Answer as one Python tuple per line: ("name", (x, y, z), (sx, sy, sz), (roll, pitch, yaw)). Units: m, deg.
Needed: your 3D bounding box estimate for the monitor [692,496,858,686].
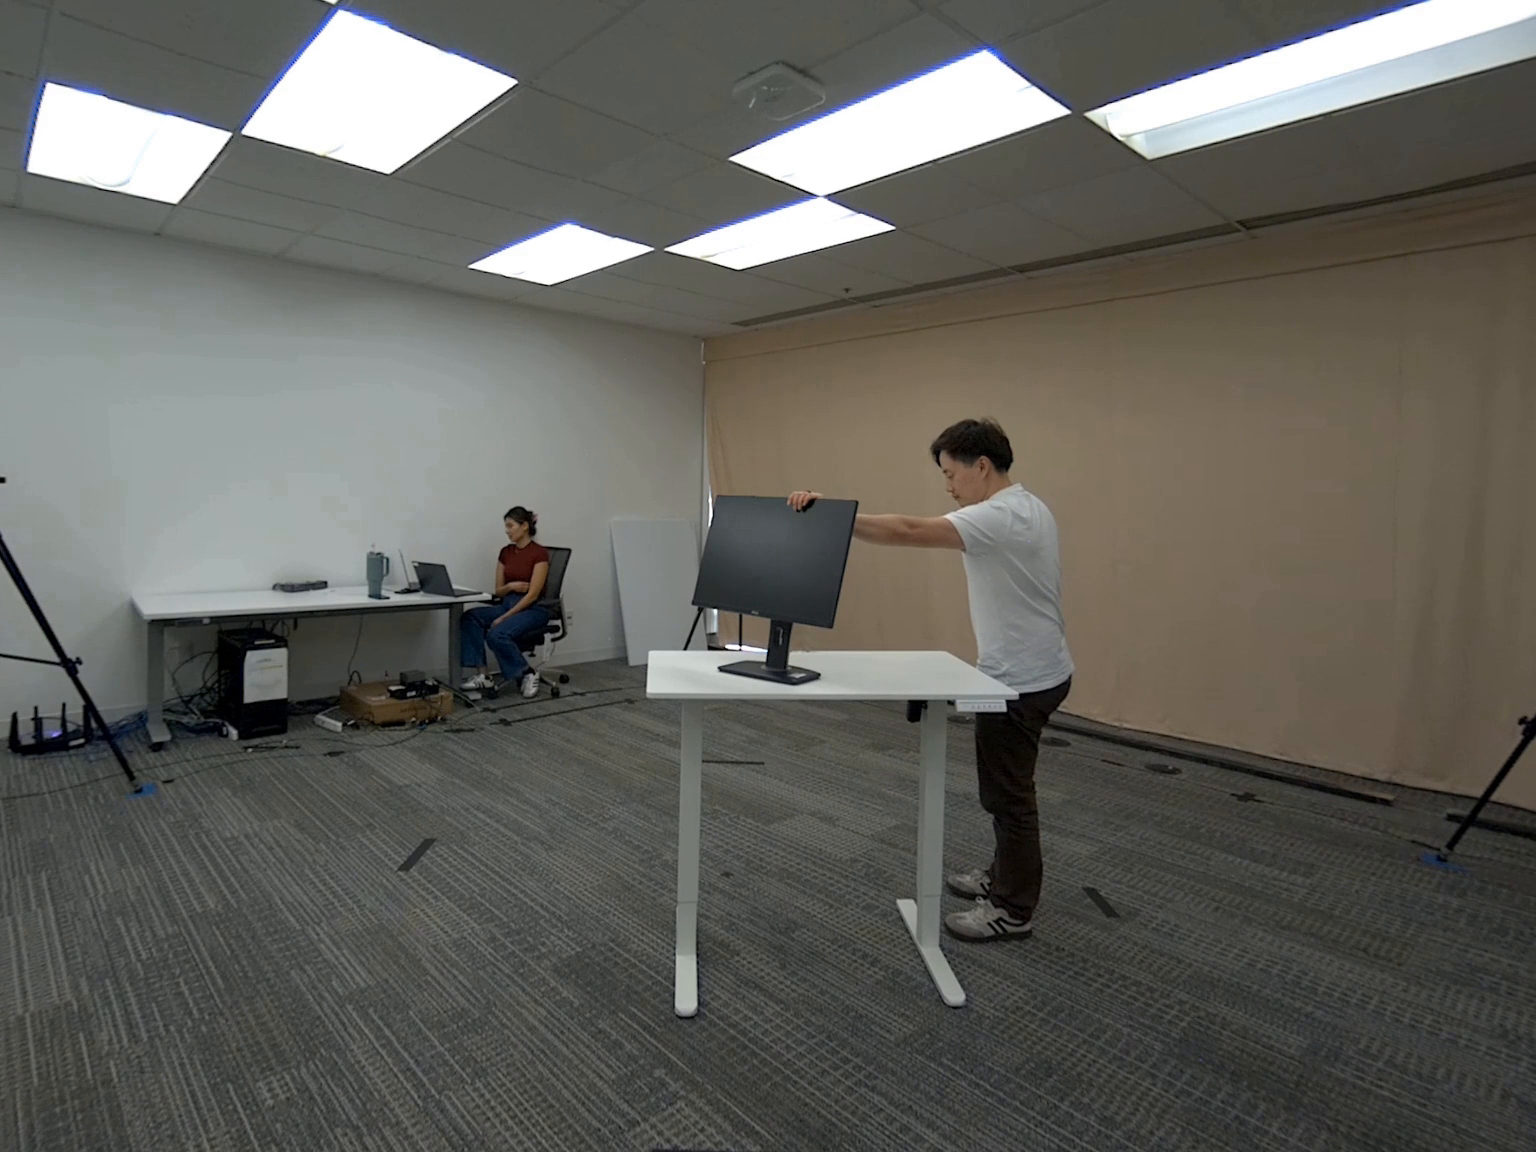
("monitor", (0.019, 0.037, 2.432), (0.553, 0.521, 0.183), (6, 4, 41))
